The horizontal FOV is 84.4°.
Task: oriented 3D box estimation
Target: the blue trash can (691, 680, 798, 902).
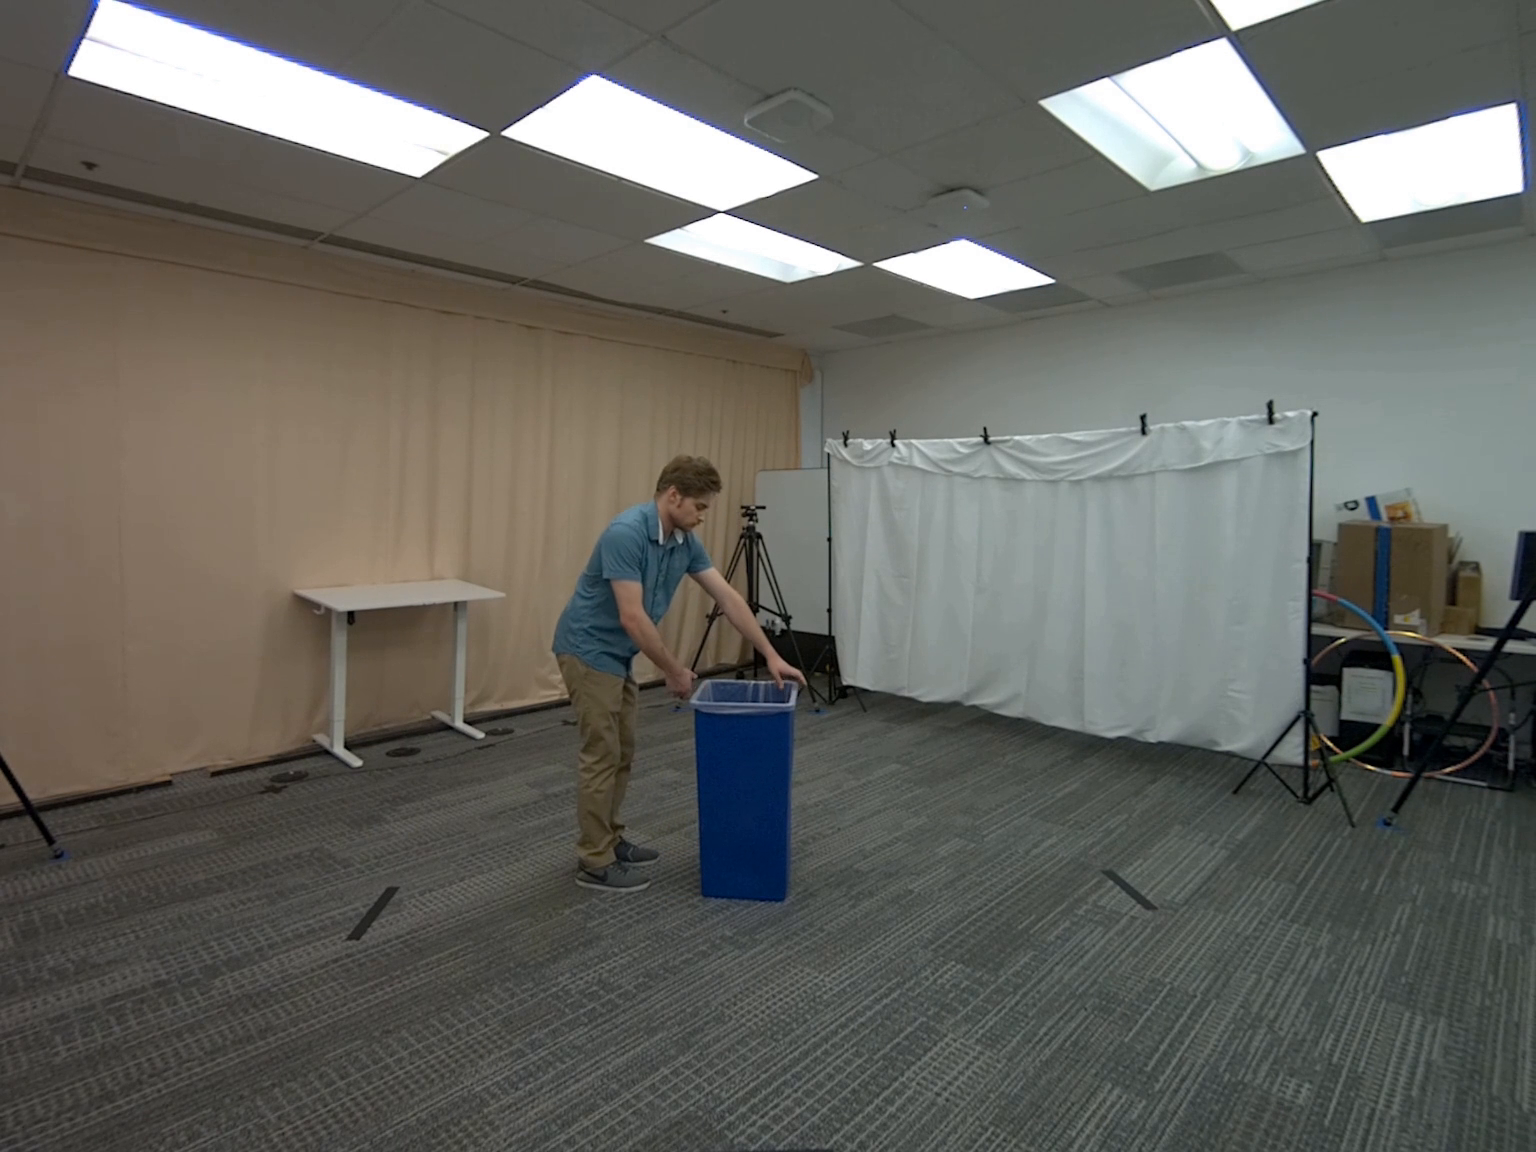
[{"bbox_3d":[-0.085,0.778,3.094,0.377,0.712,0.376,1,4,5],"label":"blue trash can"}]
